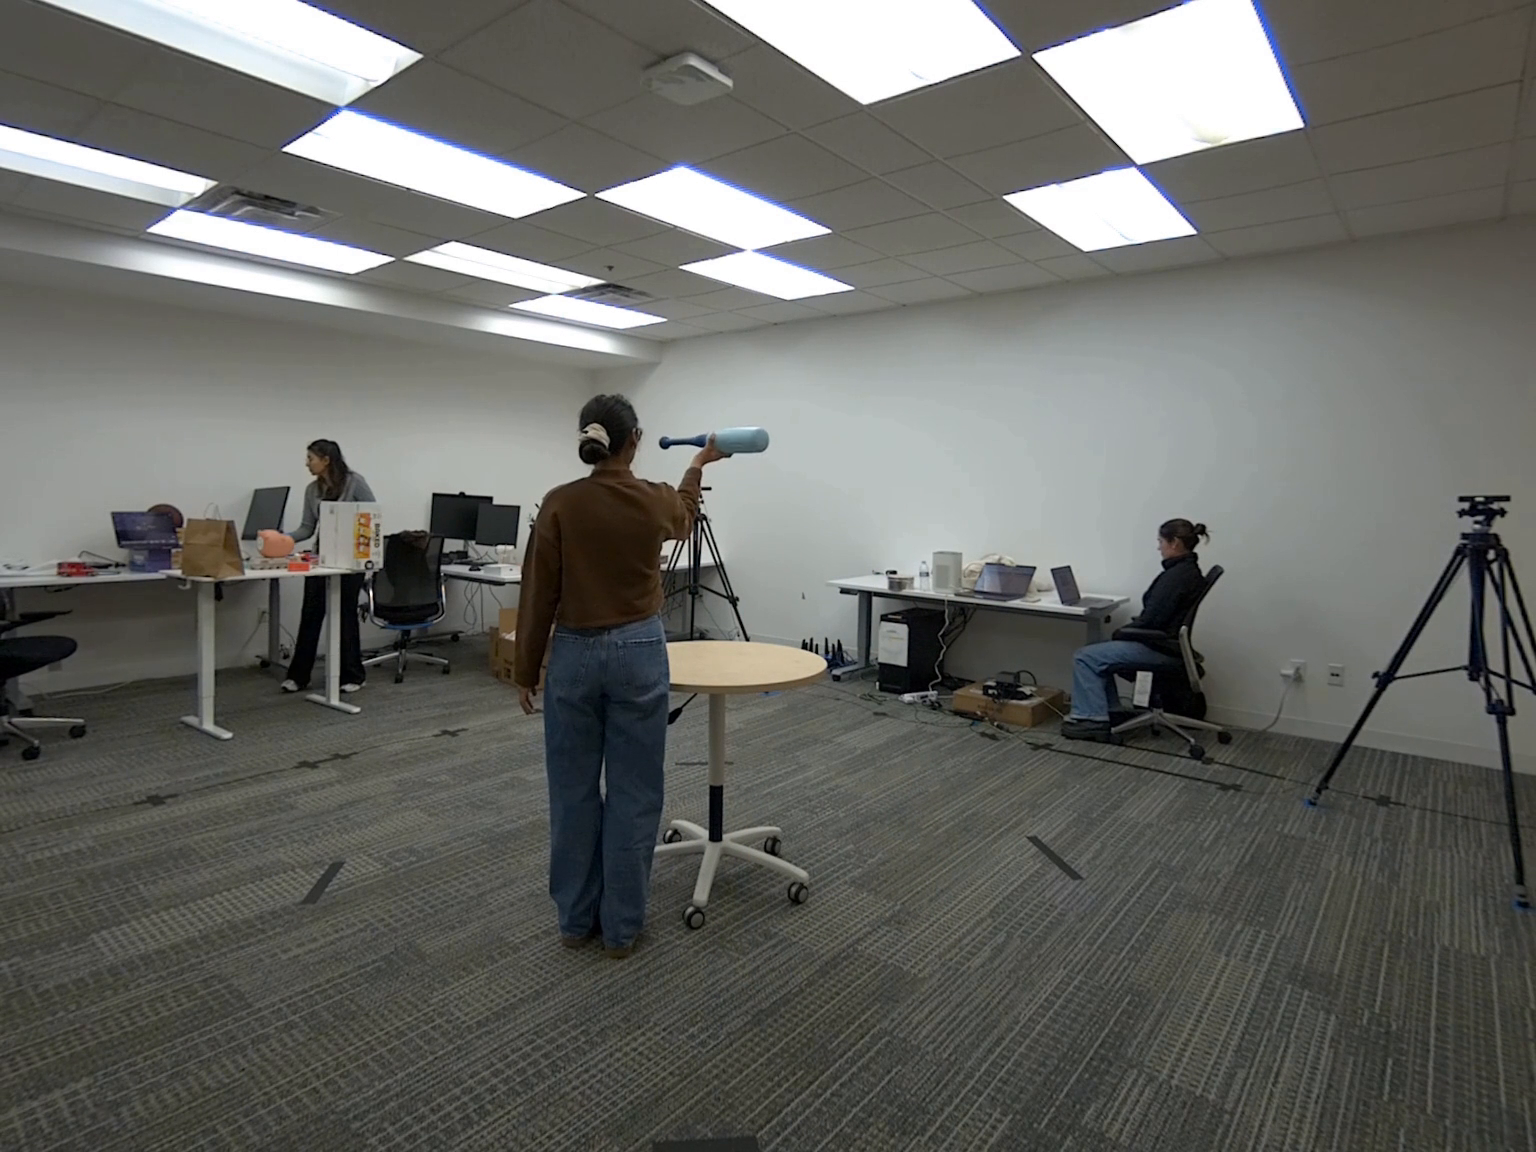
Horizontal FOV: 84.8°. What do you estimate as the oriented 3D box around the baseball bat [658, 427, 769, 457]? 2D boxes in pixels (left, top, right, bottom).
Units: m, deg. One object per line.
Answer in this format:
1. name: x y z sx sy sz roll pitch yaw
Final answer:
1. baseball bat: -0.218 -0.484 3.041 0.086 0.088 0.562 -3 8 -42
